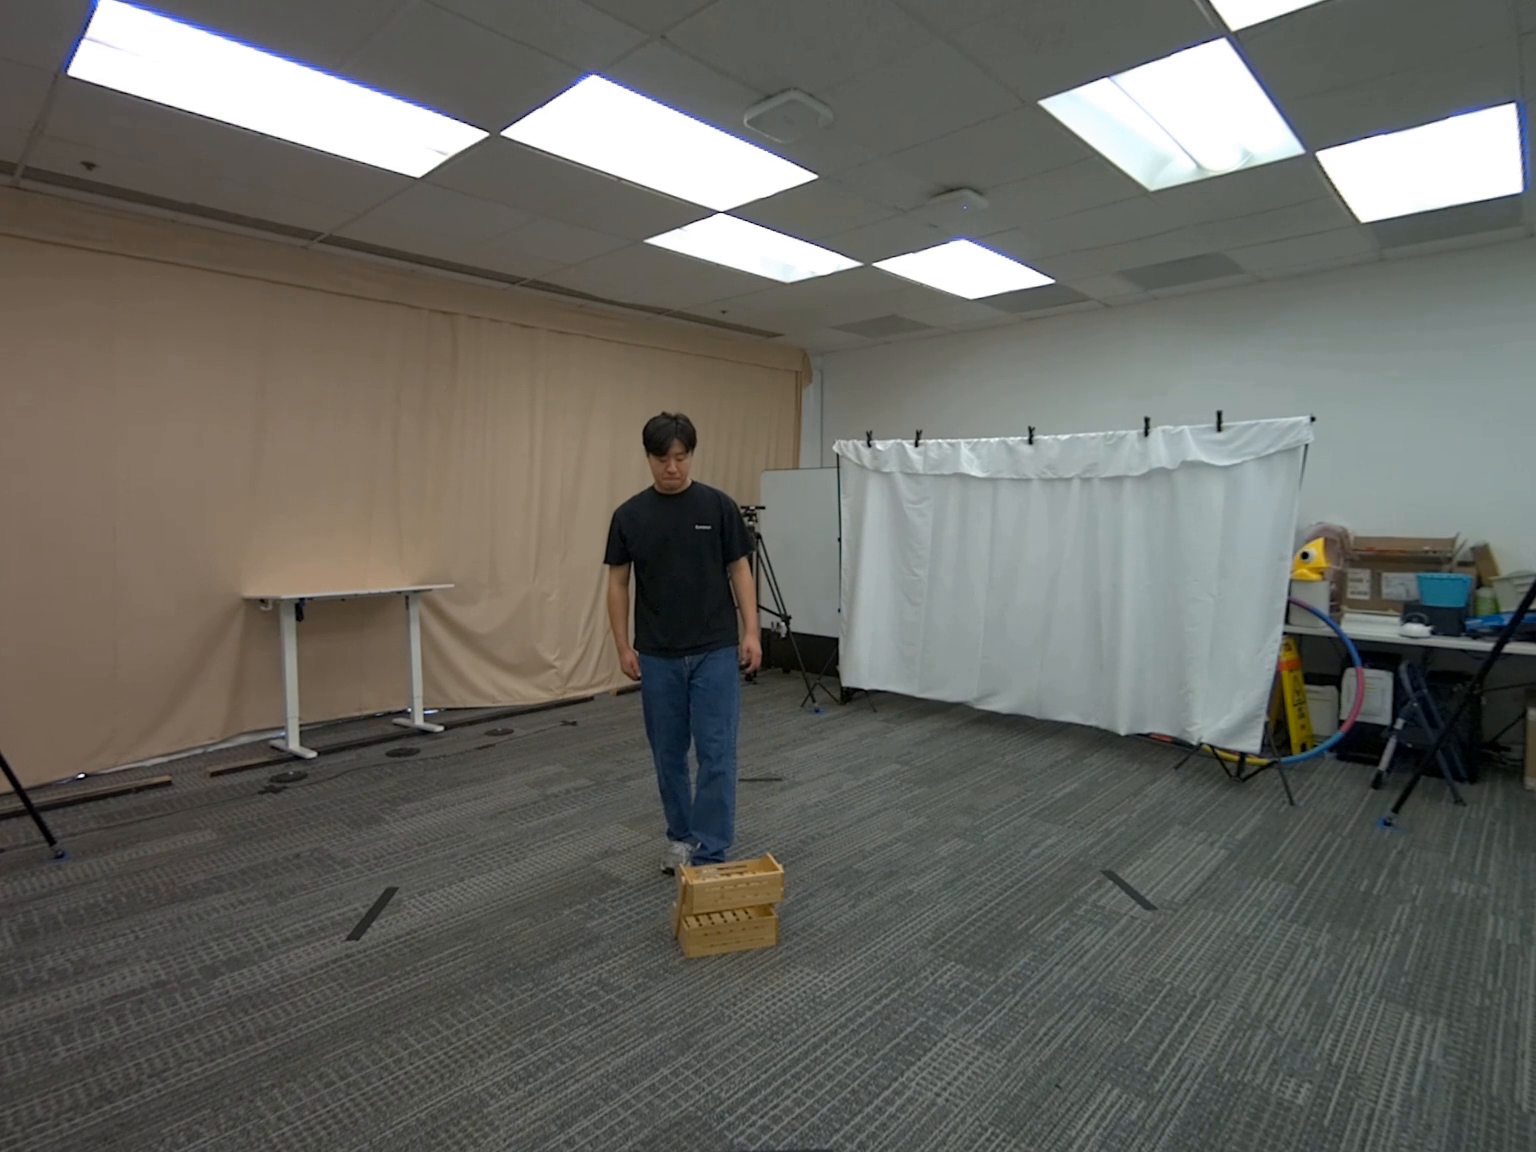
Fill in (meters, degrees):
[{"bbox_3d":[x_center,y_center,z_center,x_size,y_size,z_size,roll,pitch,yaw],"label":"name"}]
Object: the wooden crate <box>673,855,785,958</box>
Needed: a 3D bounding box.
[{"bbox_3d":[-0.139,1.032,2.721,0.319,0.272,0.308,-1,4,-17],"label":"wooden crate"}]
